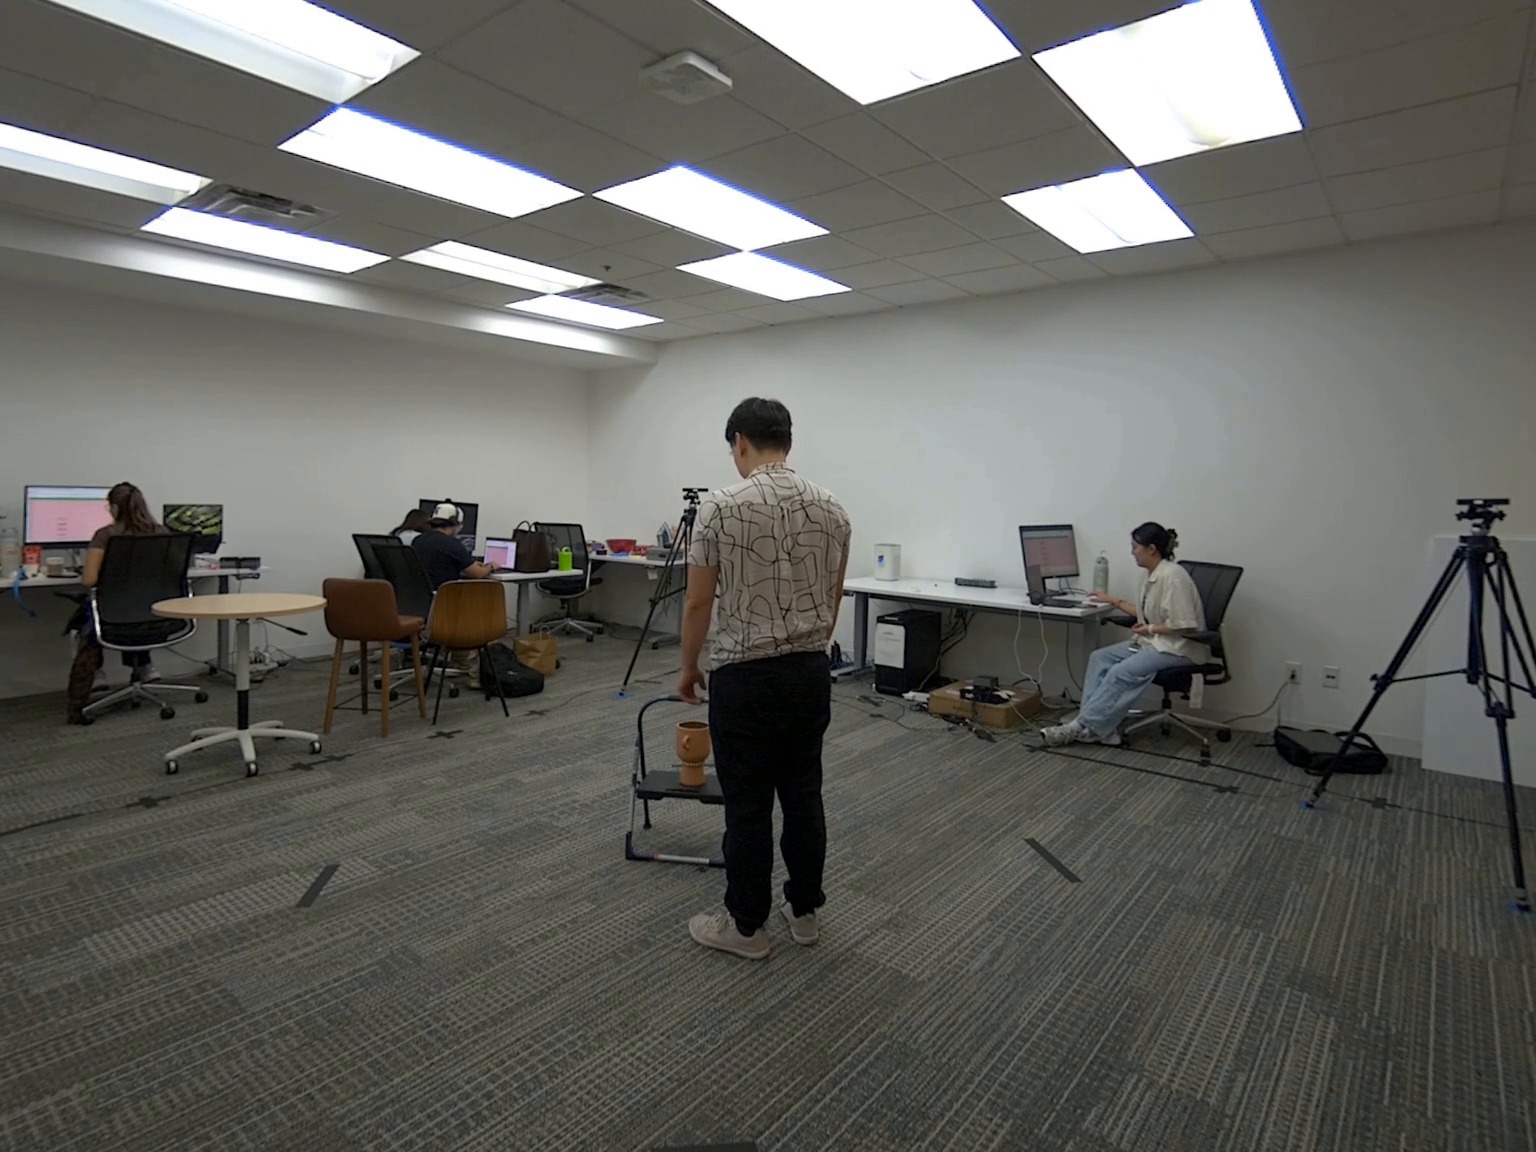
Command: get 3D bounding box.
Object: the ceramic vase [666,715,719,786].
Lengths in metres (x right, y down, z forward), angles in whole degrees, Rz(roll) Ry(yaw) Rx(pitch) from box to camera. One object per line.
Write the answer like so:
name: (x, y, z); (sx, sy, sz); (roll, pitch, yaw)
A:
ceramic vase: (-0.290, 0.671, 3.267); (0.154, 0.219, 0.139); (0, 3, -34)
